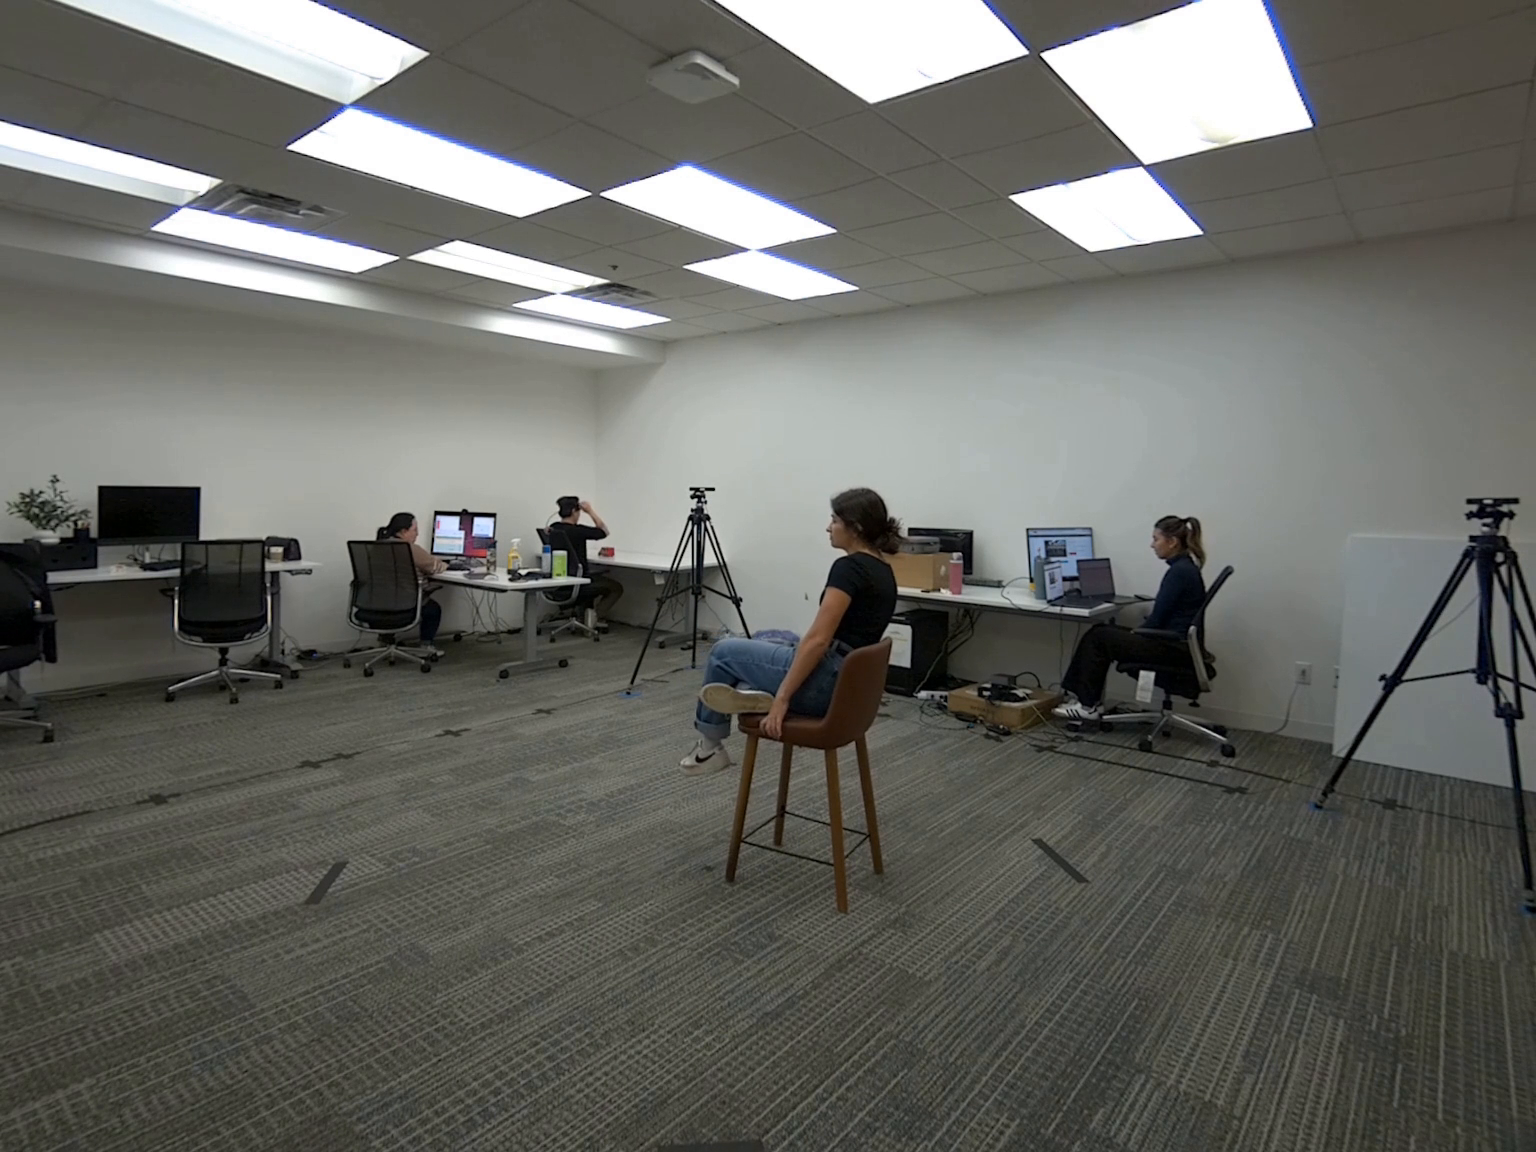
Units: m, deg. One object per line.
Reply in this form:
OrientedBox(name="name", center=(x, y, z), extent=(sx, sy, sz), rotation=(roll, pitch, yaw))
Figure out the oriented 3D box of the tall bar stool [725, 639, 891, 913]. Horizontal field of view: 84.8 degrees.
OrientedBox(name="tall bar stool", center=(0.154, 0.647, 3.042), extent=(0.482, 0.886, 0.445), rotation=(6, 5, 29))
